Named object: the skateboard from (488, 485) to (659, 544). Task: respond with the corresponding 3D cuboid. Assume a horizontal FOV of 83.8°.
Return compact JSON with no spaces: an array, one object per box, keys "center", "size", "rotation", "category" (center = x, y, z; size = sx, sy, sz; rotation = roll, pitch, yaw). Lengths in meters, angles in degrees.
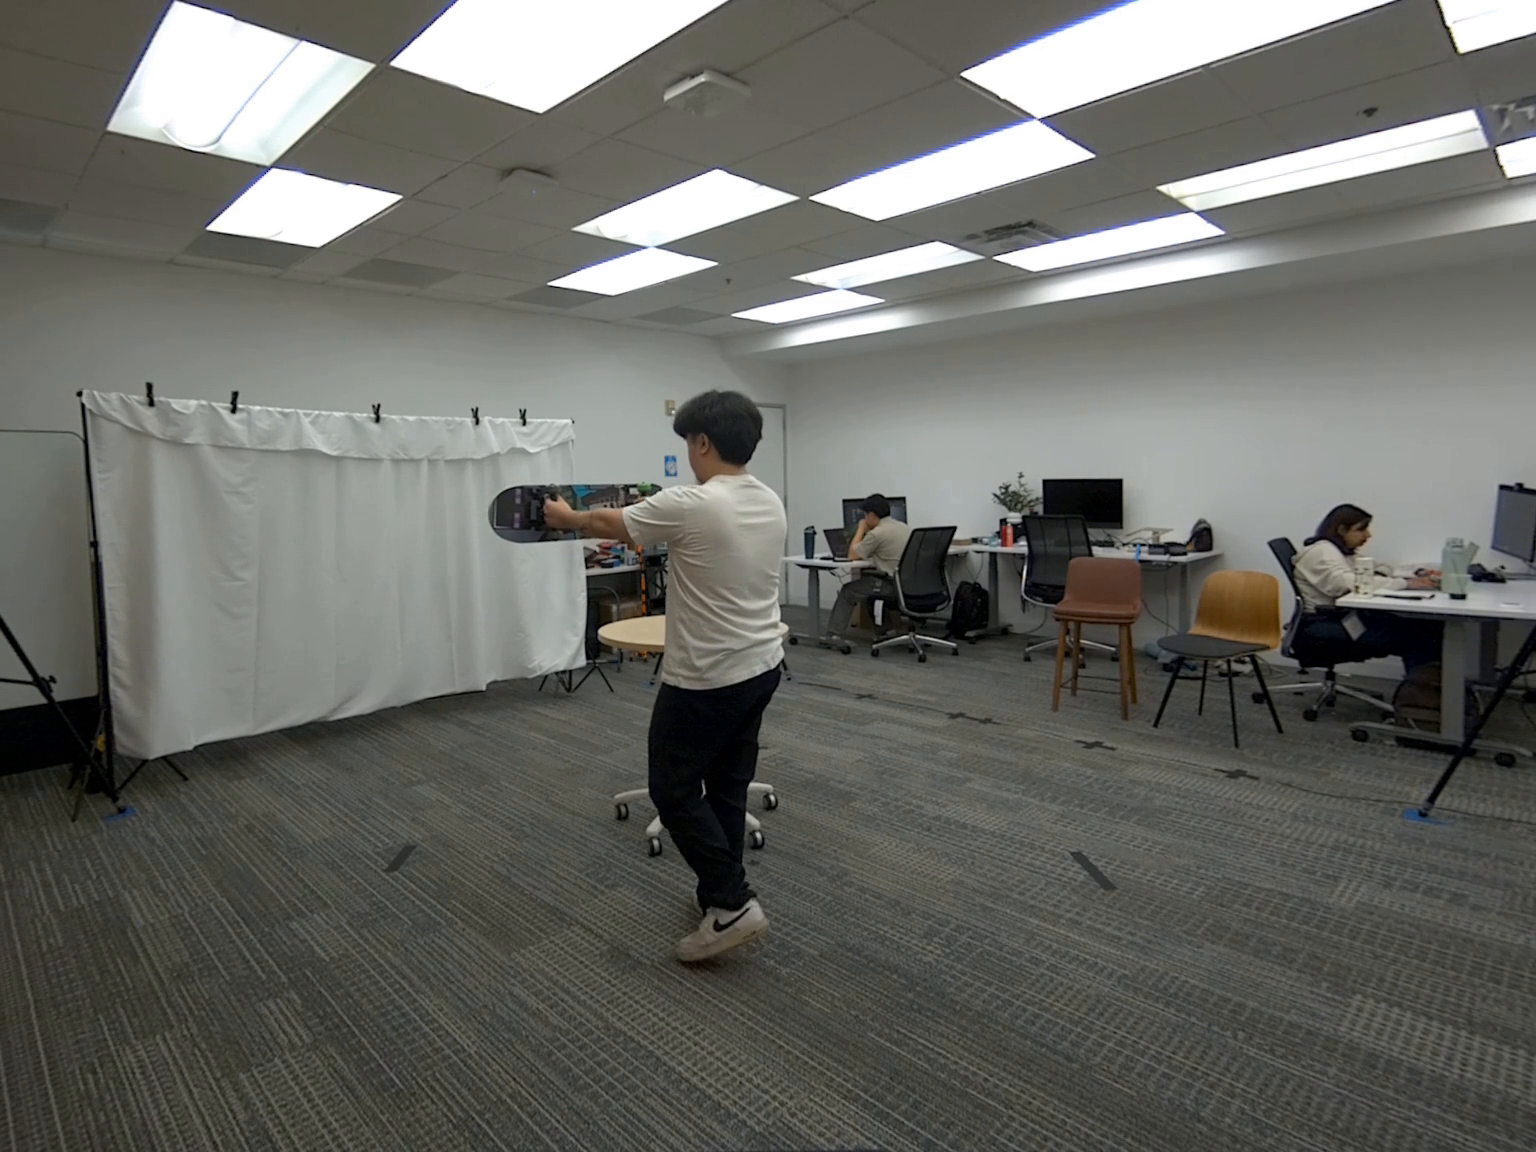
[{"center":[-0.607,-0.220,2.995],"size":[0.114,0.192,0.765],"rotation":[6,9,42],"category":"skateboard"}]
